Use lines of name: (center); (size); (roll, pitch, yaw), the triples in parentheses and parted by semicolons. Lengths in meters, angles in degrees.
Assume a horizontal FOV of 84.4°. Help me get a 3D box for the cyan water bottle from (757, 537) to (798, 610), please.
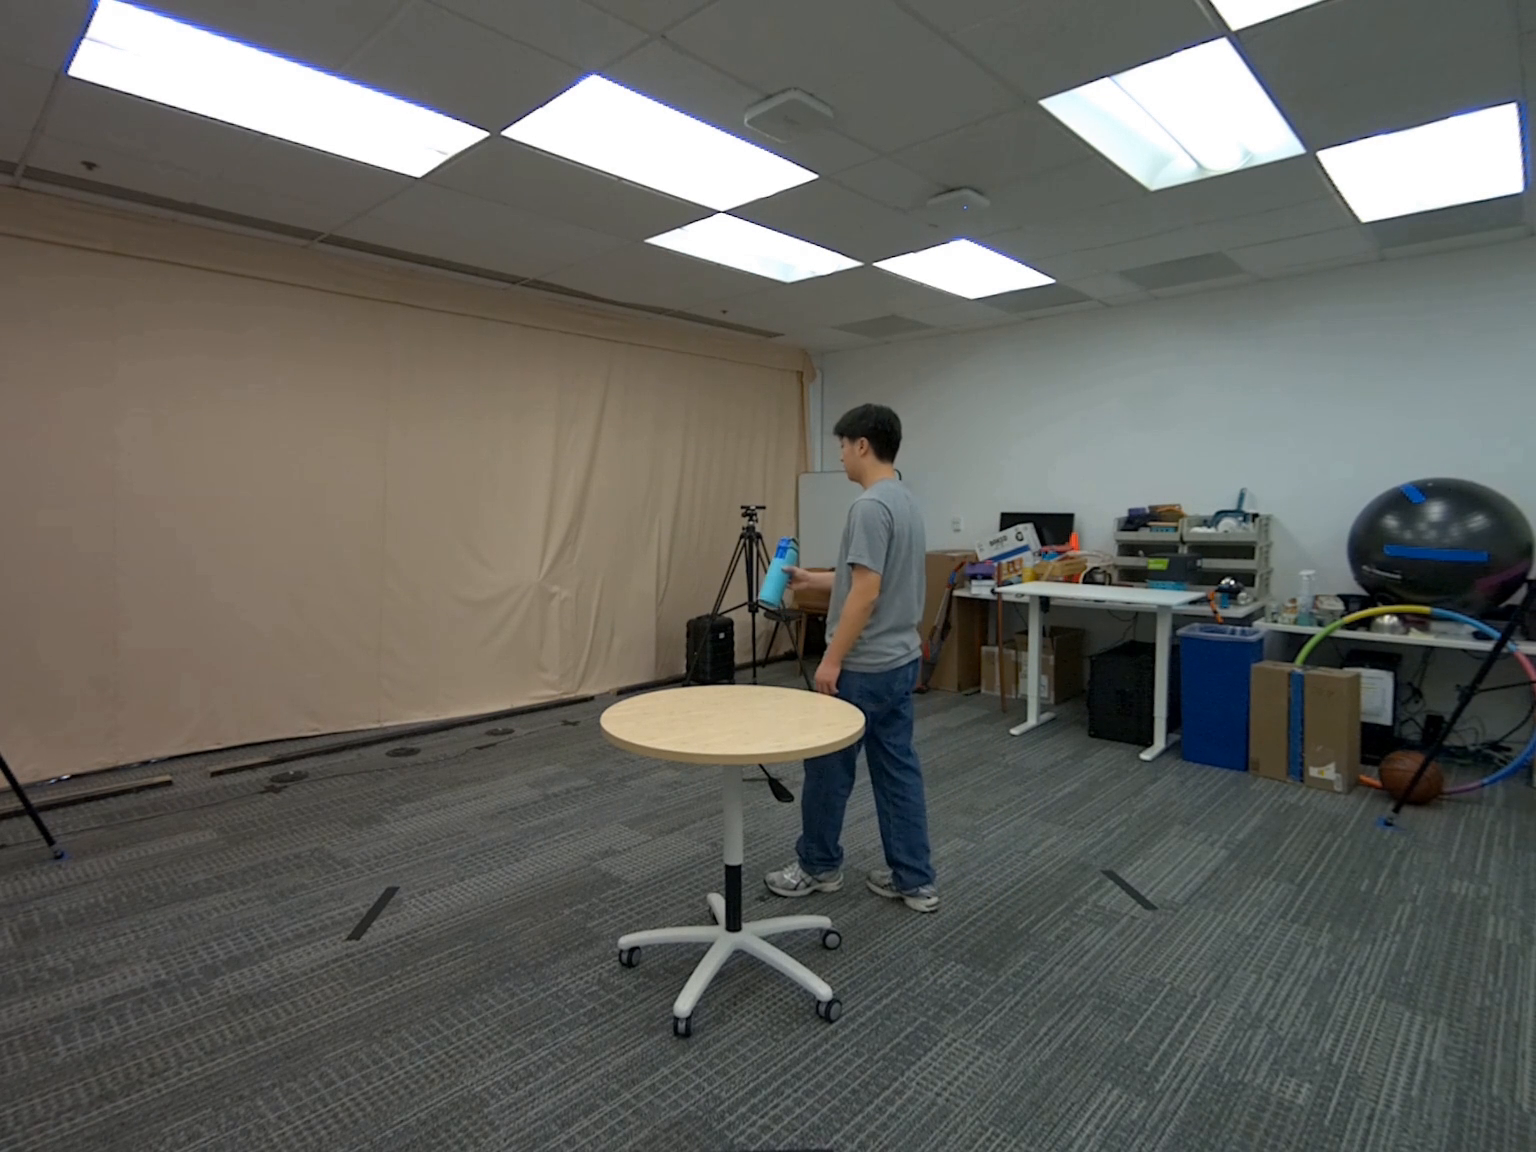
cyan water bottle: (0.050, -0.022, 3.270); (0.093, 0.284, 0.092); (18, -13, 2)
